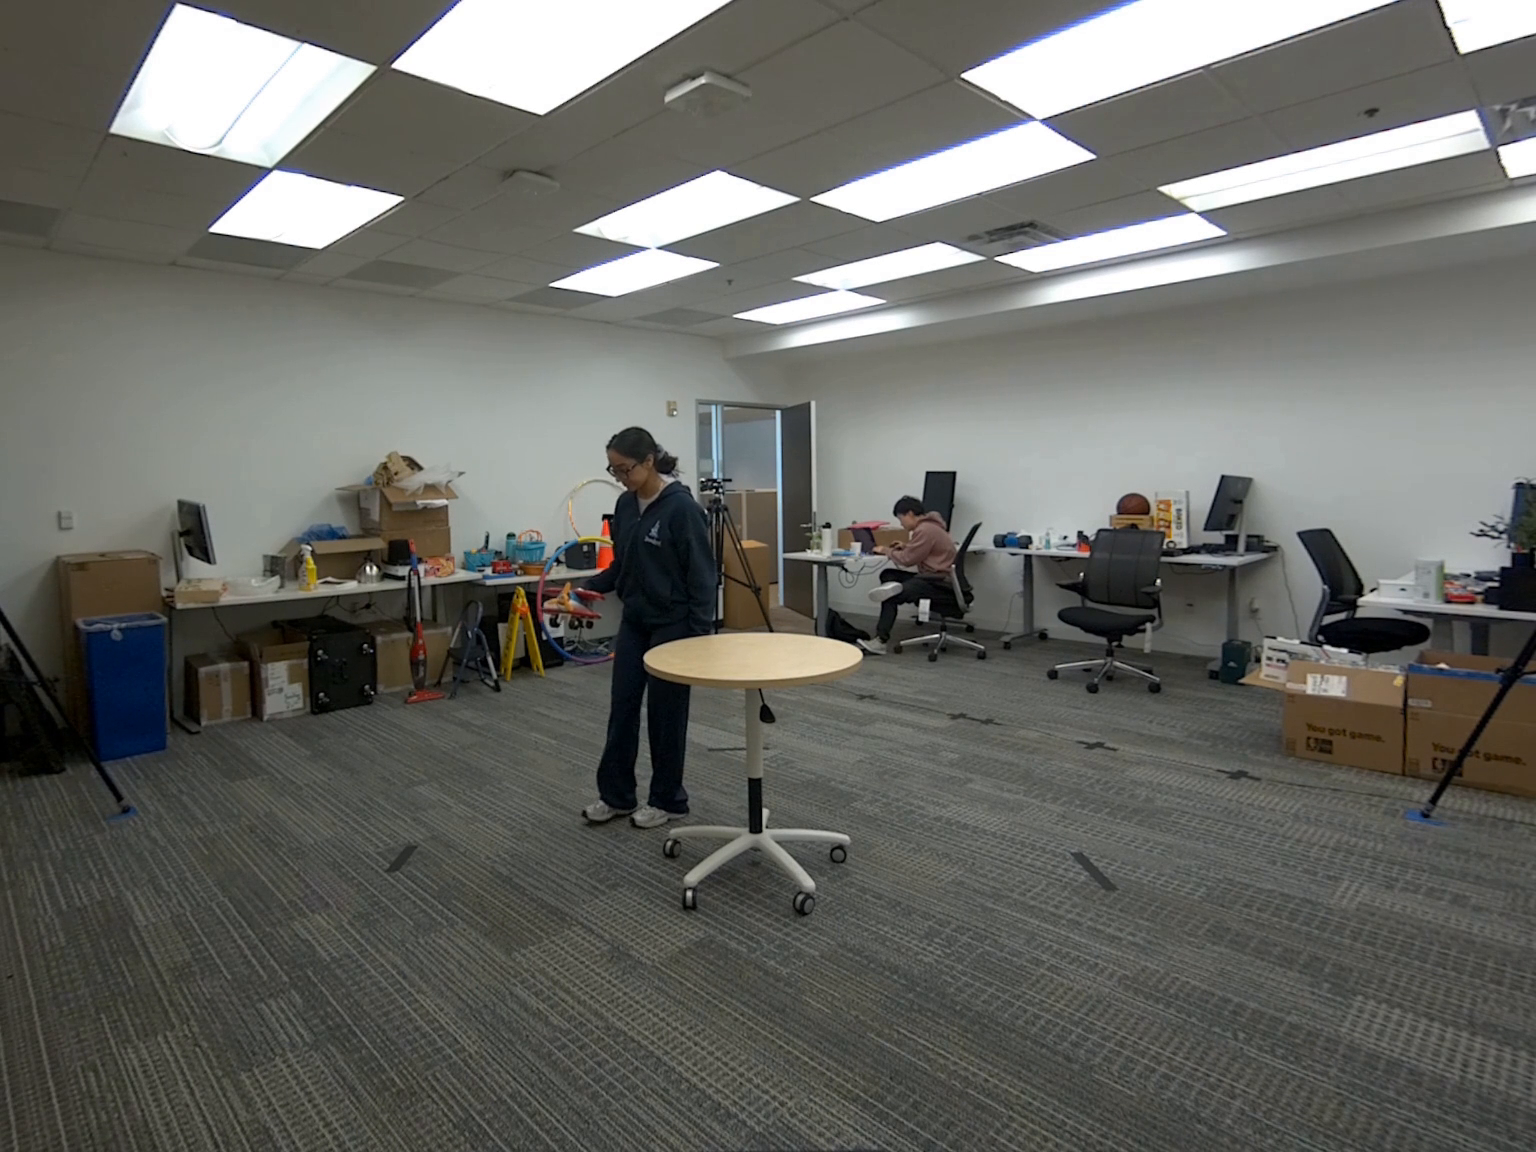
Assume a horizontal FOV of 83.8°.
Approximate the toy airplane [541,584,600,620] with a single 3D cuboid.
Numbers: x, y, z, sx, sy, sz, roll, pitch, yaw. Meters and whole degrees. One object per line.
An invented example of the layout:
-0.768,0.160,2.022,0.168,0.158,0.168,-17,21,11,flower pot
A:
-0.775,0.131,3.415,0.248,0.157,0.262,6,-1,-11,toy airplane
